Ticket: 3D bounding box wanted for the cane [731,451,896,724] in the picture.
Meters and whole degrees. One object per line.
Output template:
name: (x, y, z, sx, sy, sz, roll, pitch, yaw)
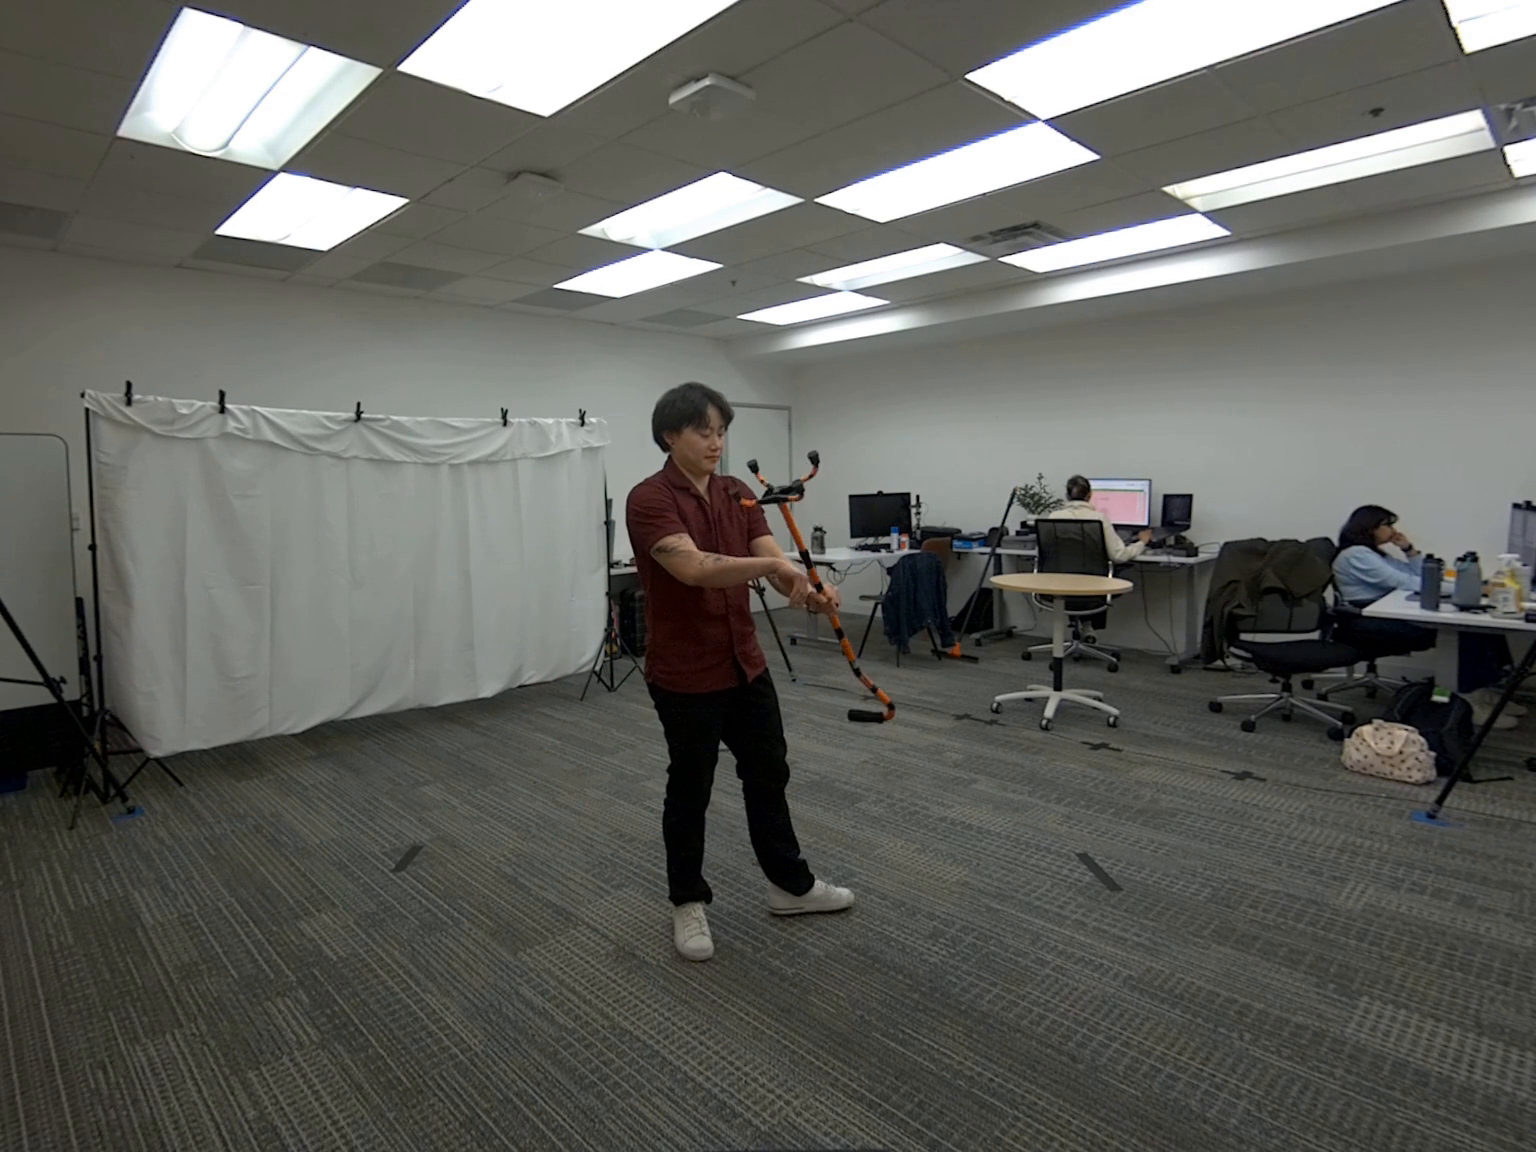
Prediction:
cane: (0.182, 0.084, 2.346, 0.211, 0.879, 0.153, -4, 37, 32)
